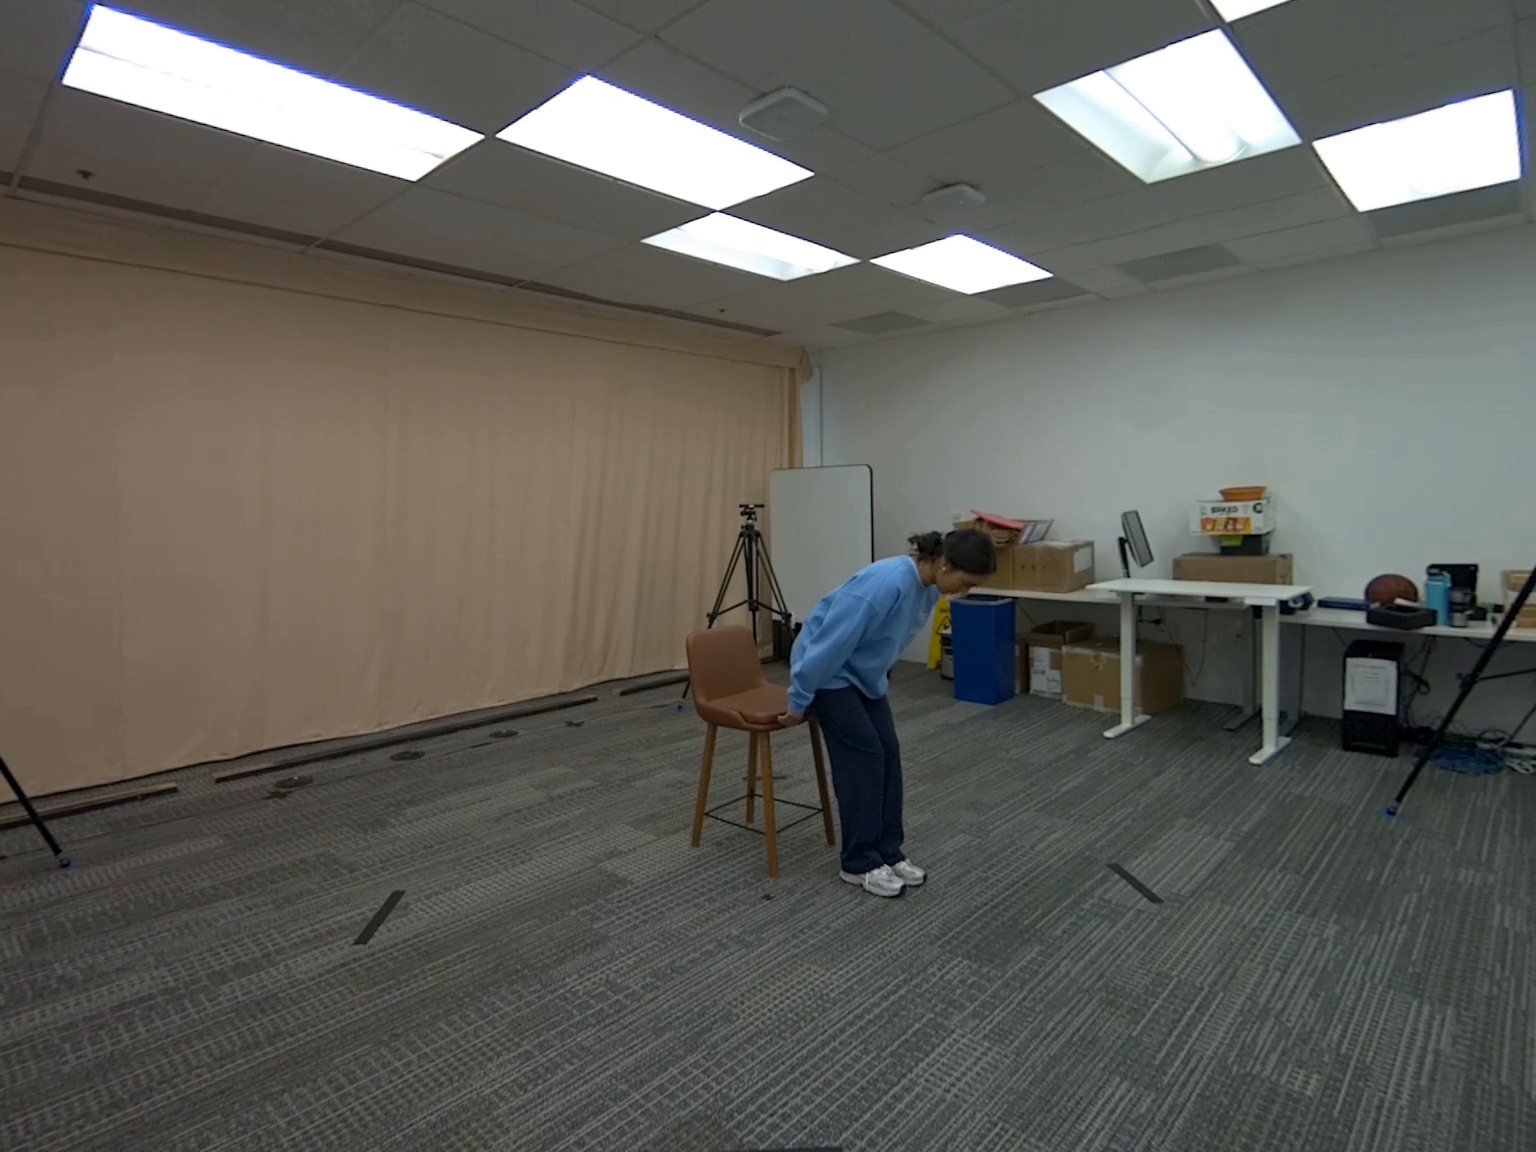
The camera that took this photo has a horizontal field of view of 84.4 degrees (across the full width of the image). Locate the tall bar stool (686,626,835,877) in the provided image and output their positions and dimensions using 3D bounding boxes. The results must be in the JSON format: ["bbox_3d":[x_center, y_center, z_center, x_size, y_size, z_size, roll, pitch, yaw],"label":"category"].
[{"bbox_3d":[-0.032,0.664,3.420,0.482,0.888,0.443,-1,3,41],"label":"tall bar stool"}]
